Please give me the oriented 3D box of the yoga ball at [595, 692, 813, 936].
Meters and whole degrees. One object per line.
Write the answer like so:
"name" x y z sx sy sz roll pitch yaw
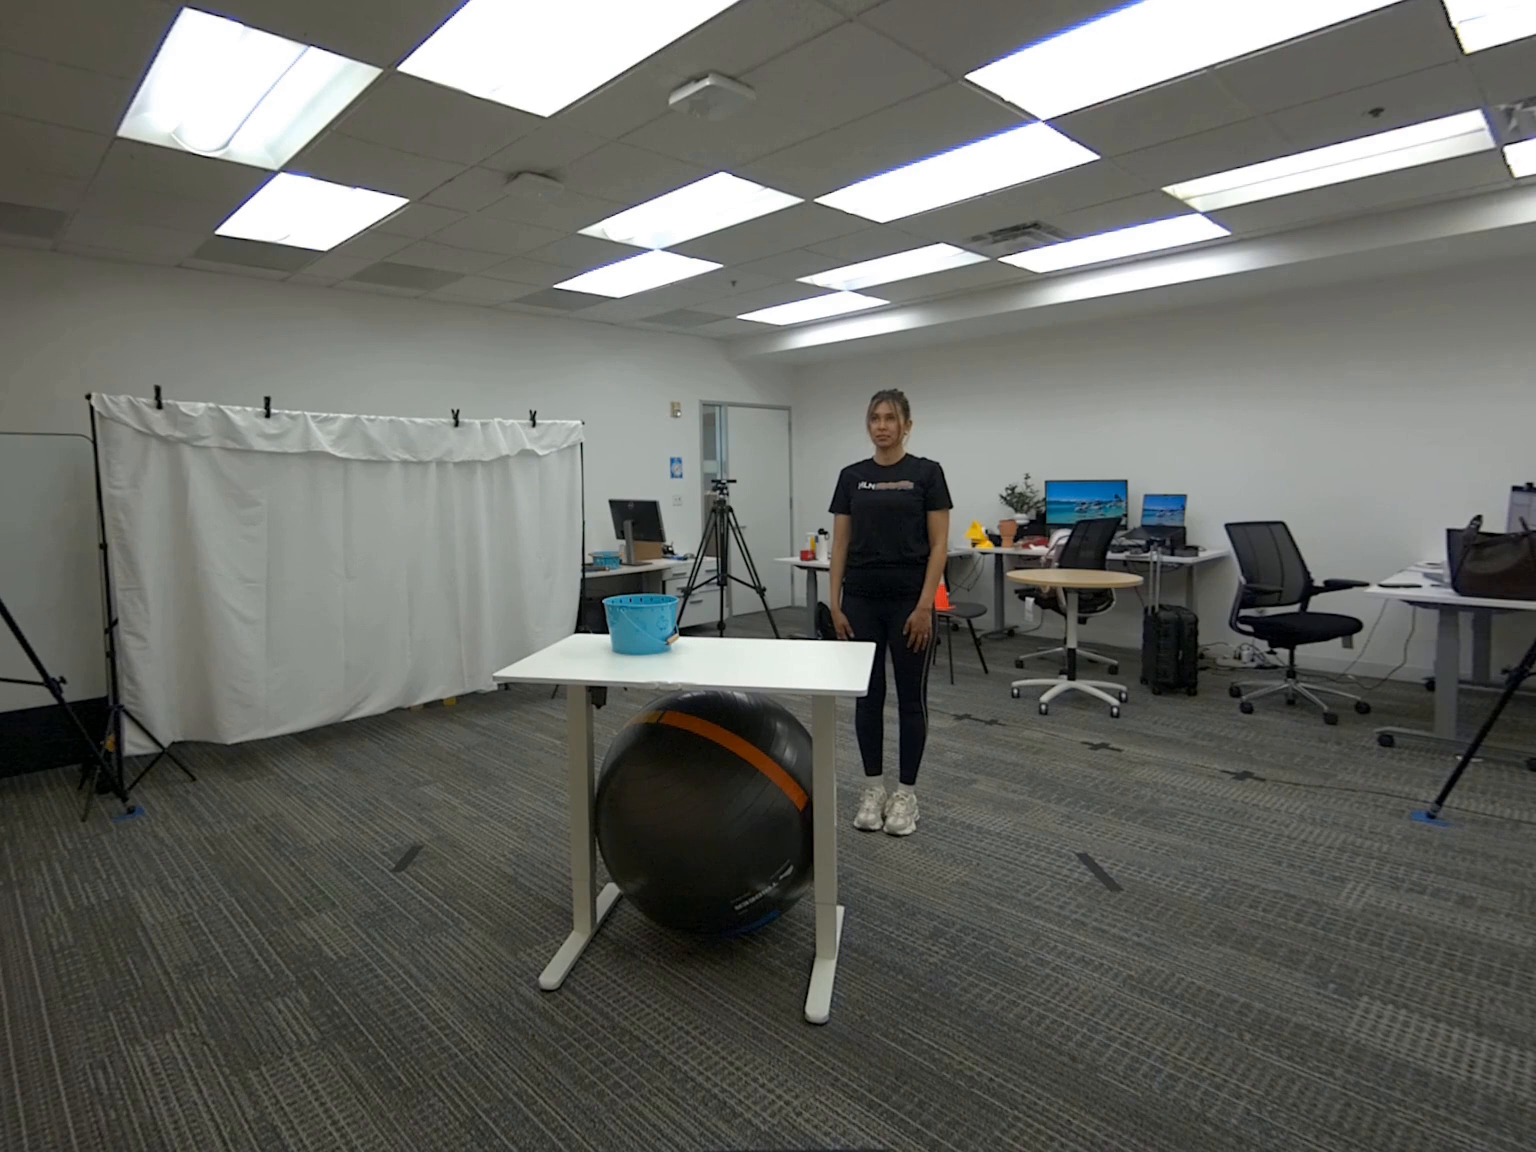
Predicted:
"yoga ball" -0.173 0.747 2.694 0.757 0.755 0.762 -1 5 -2
